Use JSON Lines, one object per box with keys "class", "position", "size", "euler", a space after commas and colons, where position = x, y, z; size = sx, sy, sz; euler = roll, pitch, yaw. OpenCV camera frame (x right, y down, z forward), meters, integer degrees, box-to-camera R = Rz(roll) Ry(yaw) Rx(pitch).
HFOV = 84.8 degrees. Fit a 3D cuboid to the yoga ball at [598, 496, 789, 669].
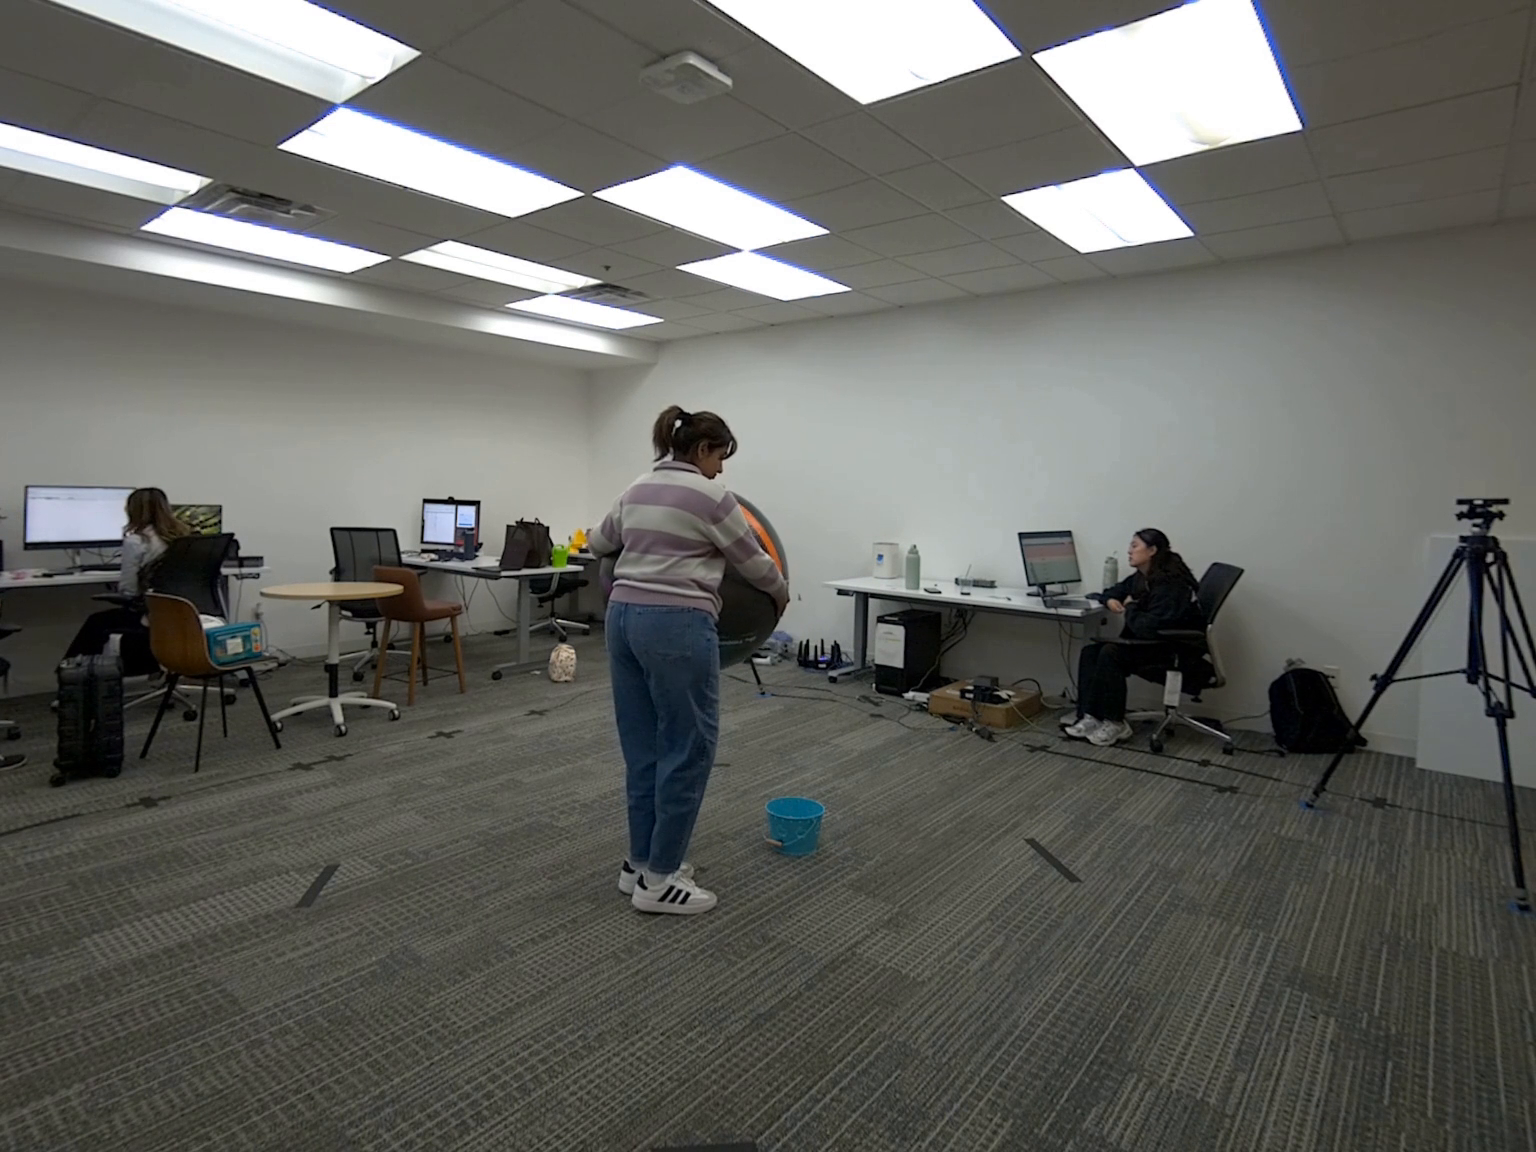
{"class": "yoga ball", "position": [-0.299, 0.012, 3.425], "size": [0.757, 0.756, 0.762], "euler": [1, 4, -2]}
